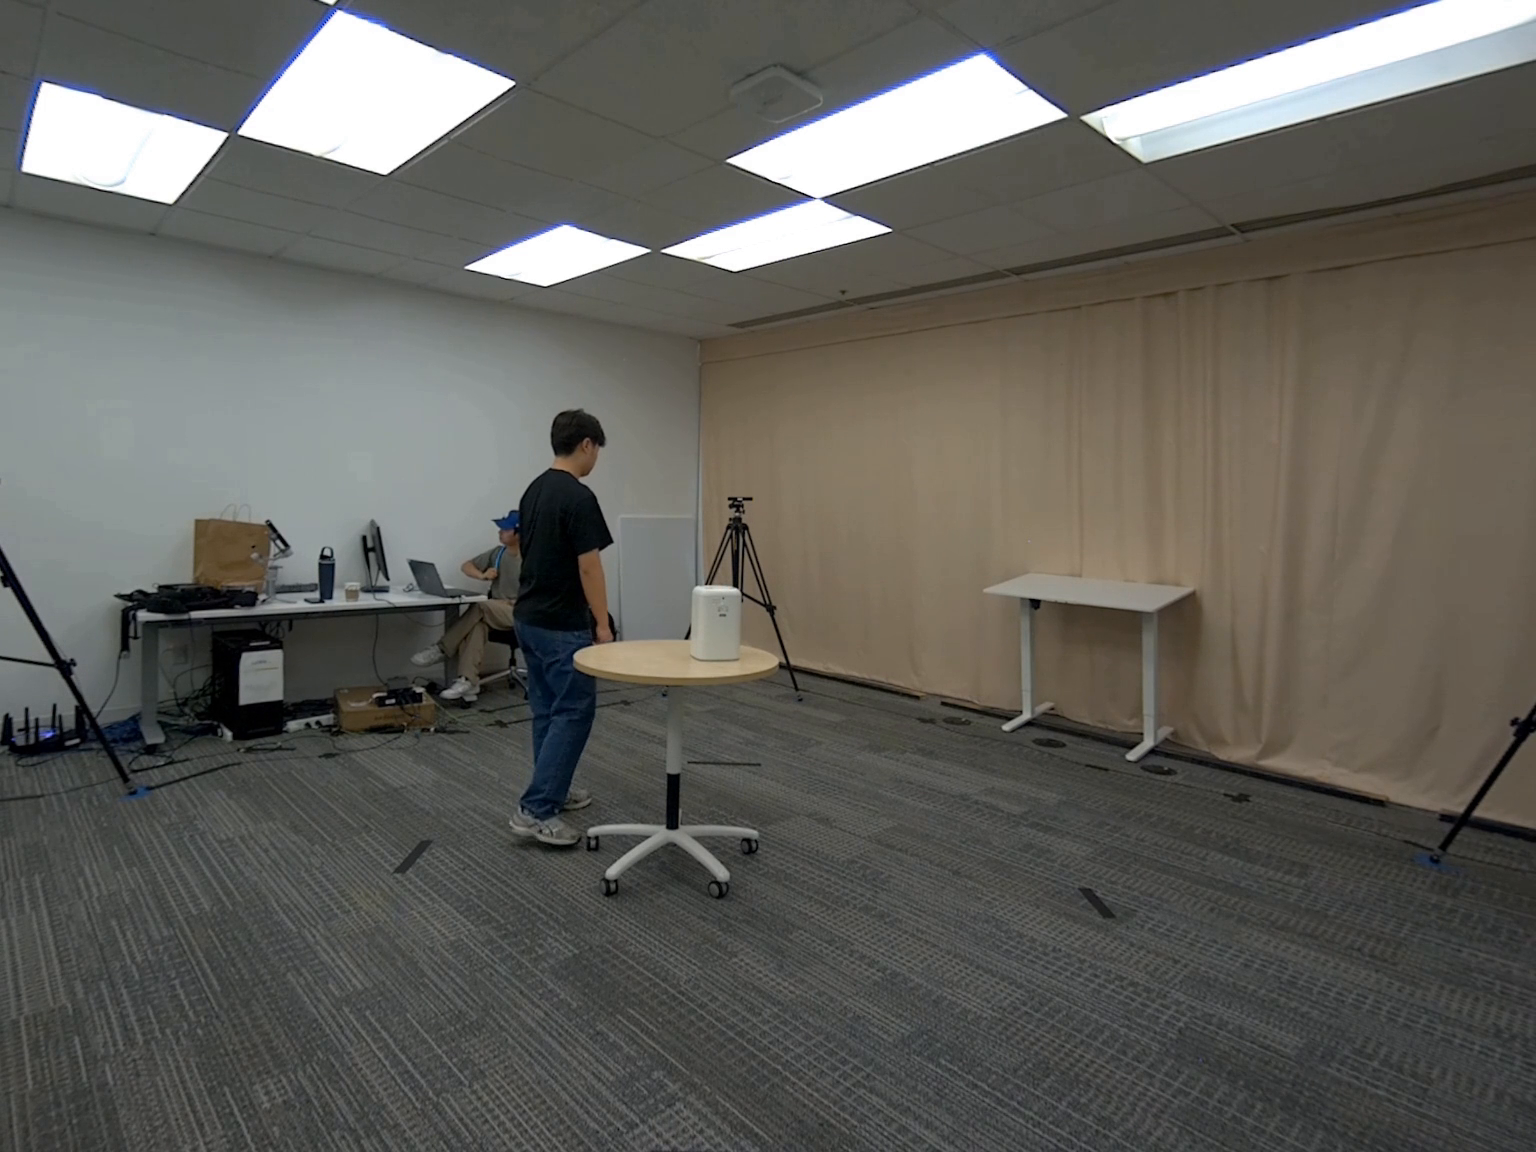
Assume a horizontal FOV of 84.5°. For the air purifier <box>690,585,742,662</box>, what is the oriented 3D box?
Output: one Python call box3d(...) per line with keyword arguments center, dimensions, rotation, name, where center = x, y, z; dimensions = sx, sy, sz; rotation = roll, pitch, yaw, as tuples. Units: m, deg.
box3d(center=(-0.204, 0.173, 3.164), dimensions=(0.169, 0.265, 0.174), rotation=(1, 3, -17), name="air purifier")
